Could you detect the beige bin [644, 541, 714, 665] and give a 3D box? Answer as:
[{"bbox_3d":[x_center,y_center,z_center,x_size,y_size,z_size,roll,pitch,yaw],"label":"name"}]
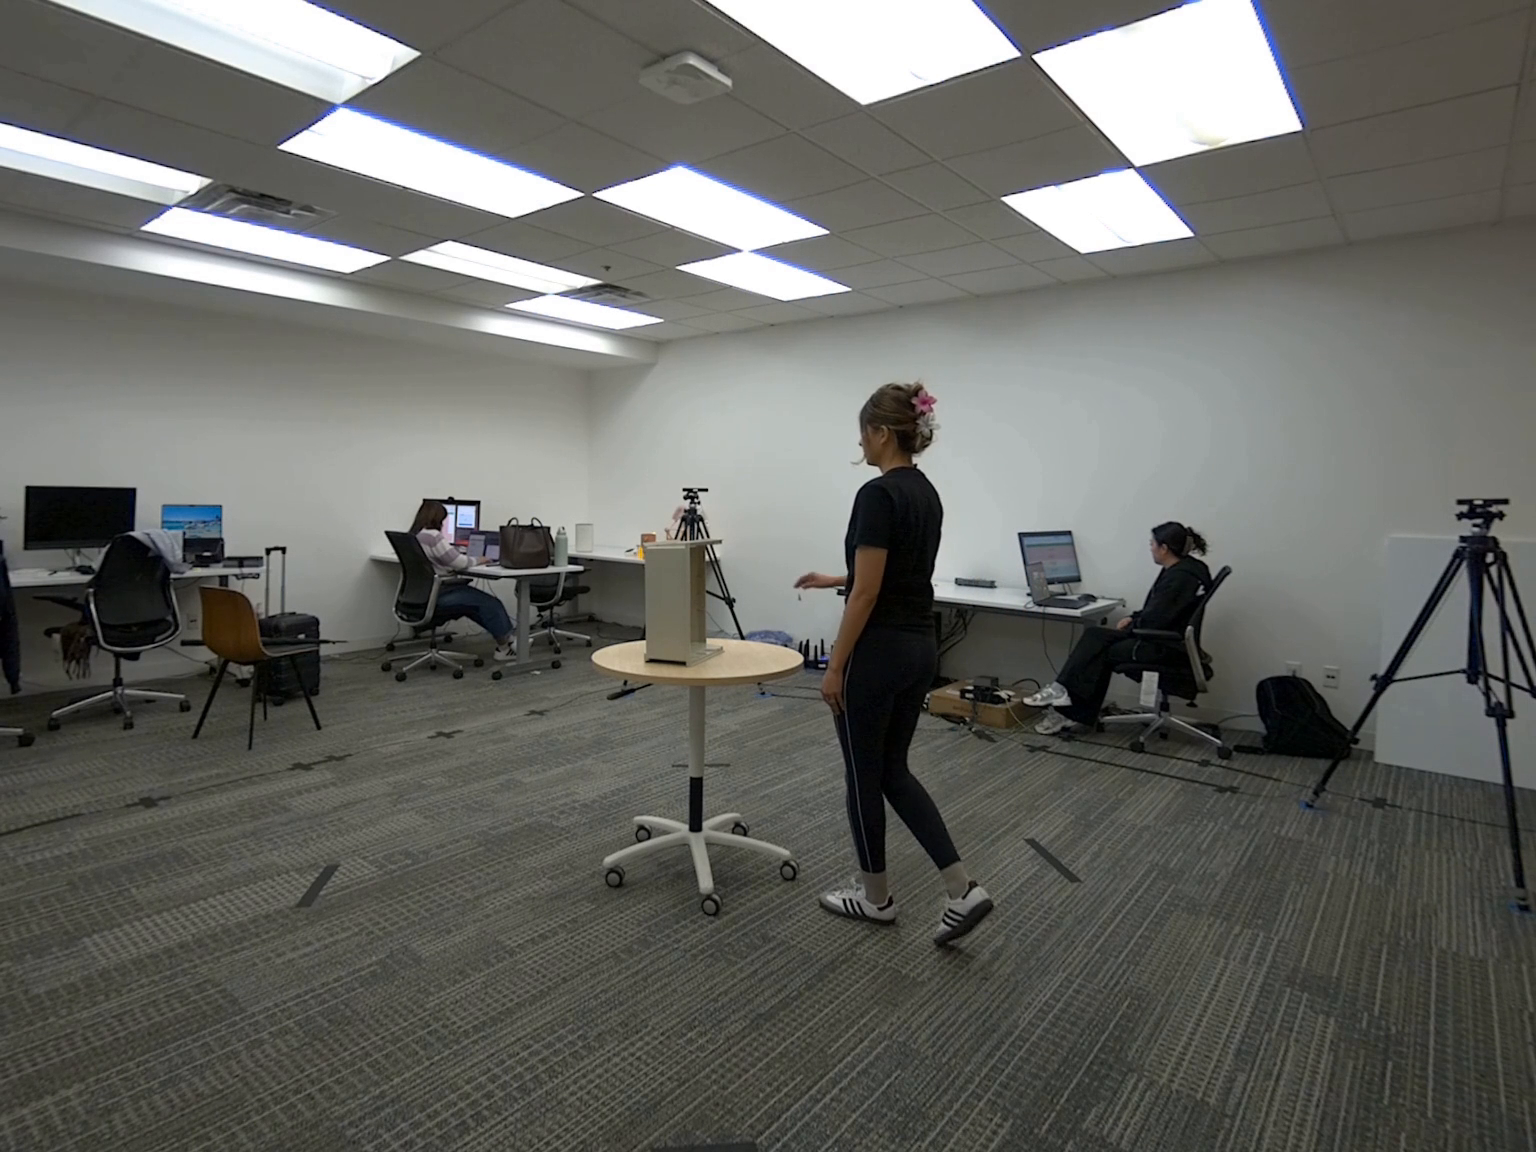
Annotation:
[{"bbox_3d":[-0.296,0.078,3.071,0.193,0.421,0.370,1,3,20],"label":"beige bin"}]
